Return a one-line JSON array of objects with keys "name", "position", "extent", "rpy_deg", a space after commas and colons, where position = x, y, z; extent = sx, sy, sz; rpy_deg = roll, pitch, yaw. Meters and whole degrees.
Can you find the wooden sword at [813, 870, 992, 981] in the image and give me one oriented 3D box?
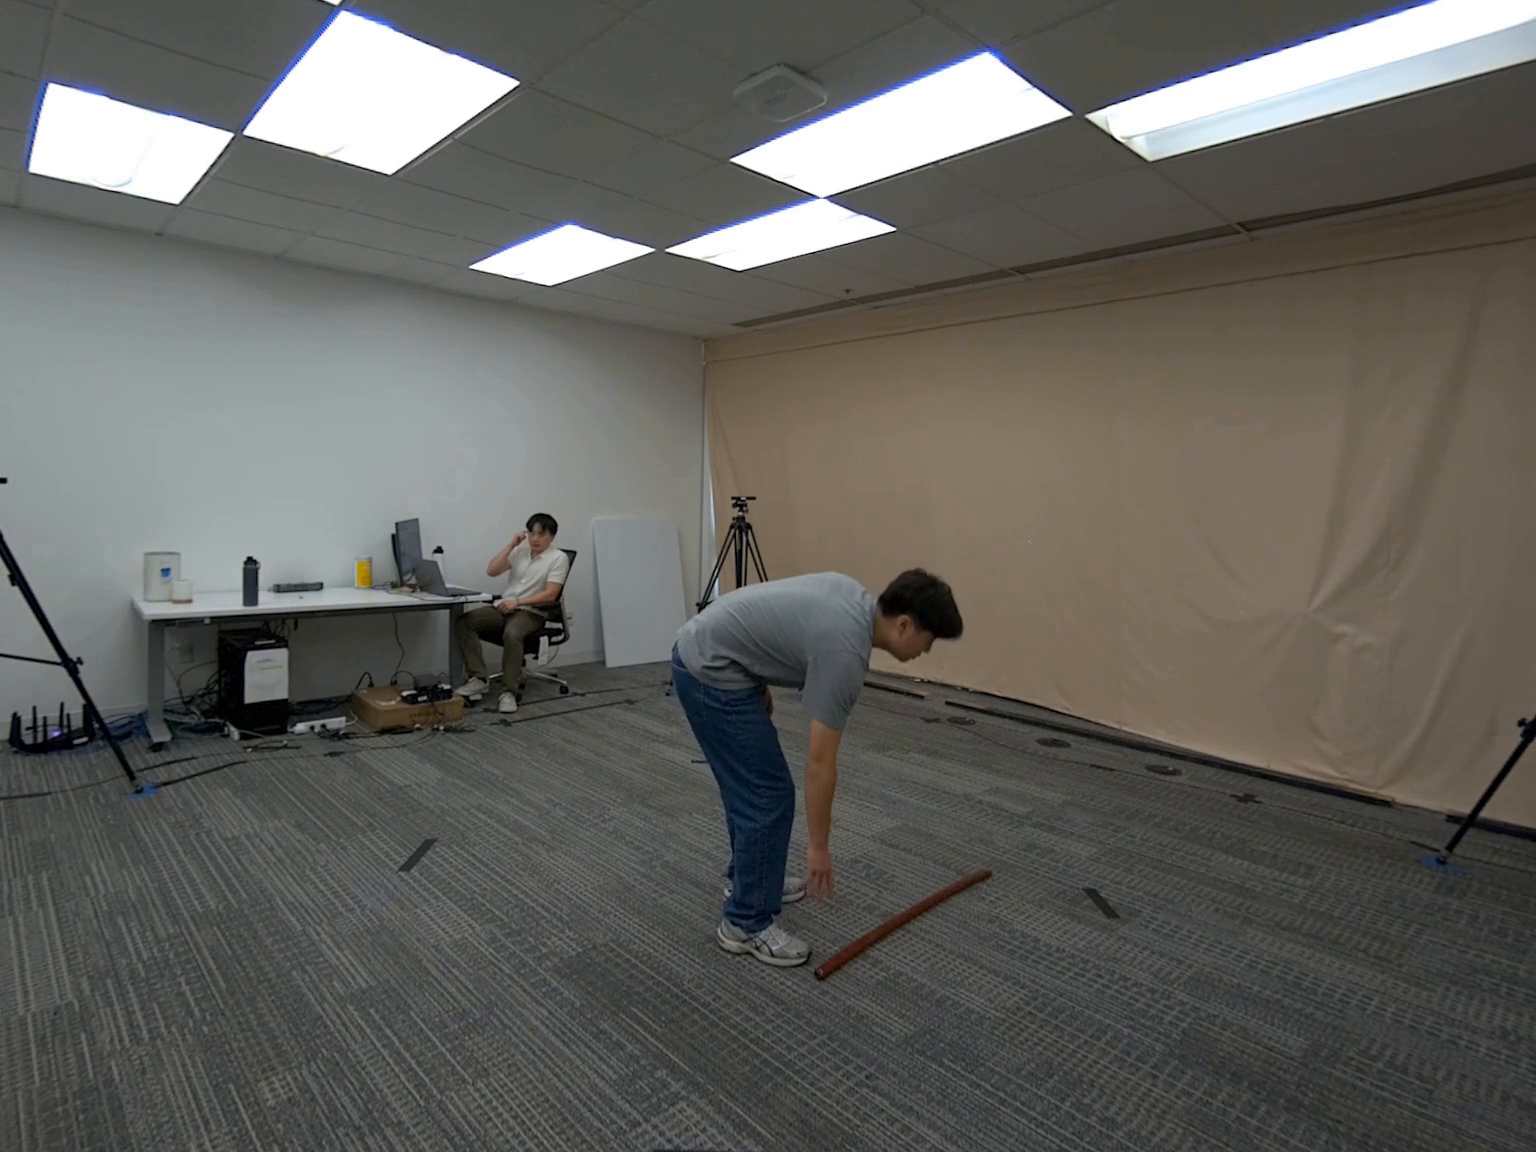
[{"name": "wooden sword", "position": [0.472, 1.127, 2.815], "extent": [0.053, 0.024, 1.002], "rpy_deg": [30, 23, 38]}]
